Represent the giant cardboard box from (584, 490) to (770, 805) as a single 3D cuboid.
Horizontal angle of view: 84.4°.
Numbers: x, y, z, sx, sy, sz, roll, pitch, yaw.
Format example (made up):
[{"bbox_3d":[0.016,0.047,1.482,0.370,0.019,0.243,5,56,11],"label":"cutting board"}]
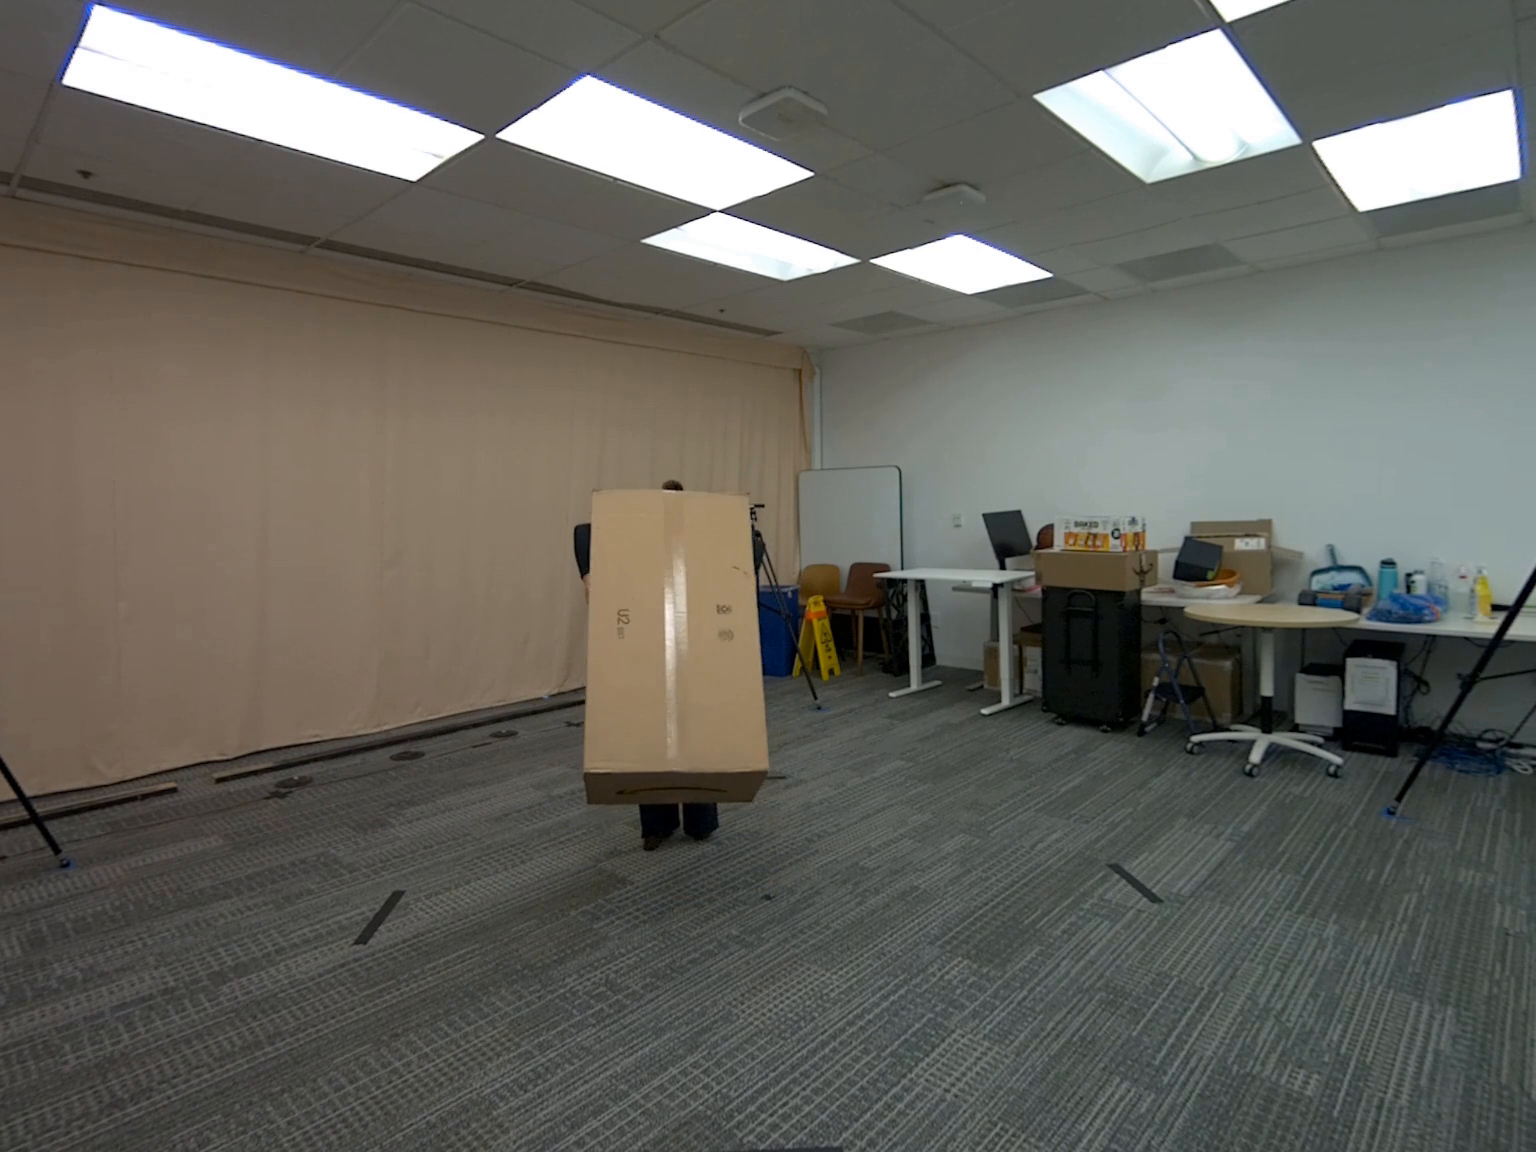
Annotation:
[{"bbox_3d":[-0.339,0.250,2.987,0.573,1.043,0.422,0,-28,-7],"label":"giant cardboard box"}]
